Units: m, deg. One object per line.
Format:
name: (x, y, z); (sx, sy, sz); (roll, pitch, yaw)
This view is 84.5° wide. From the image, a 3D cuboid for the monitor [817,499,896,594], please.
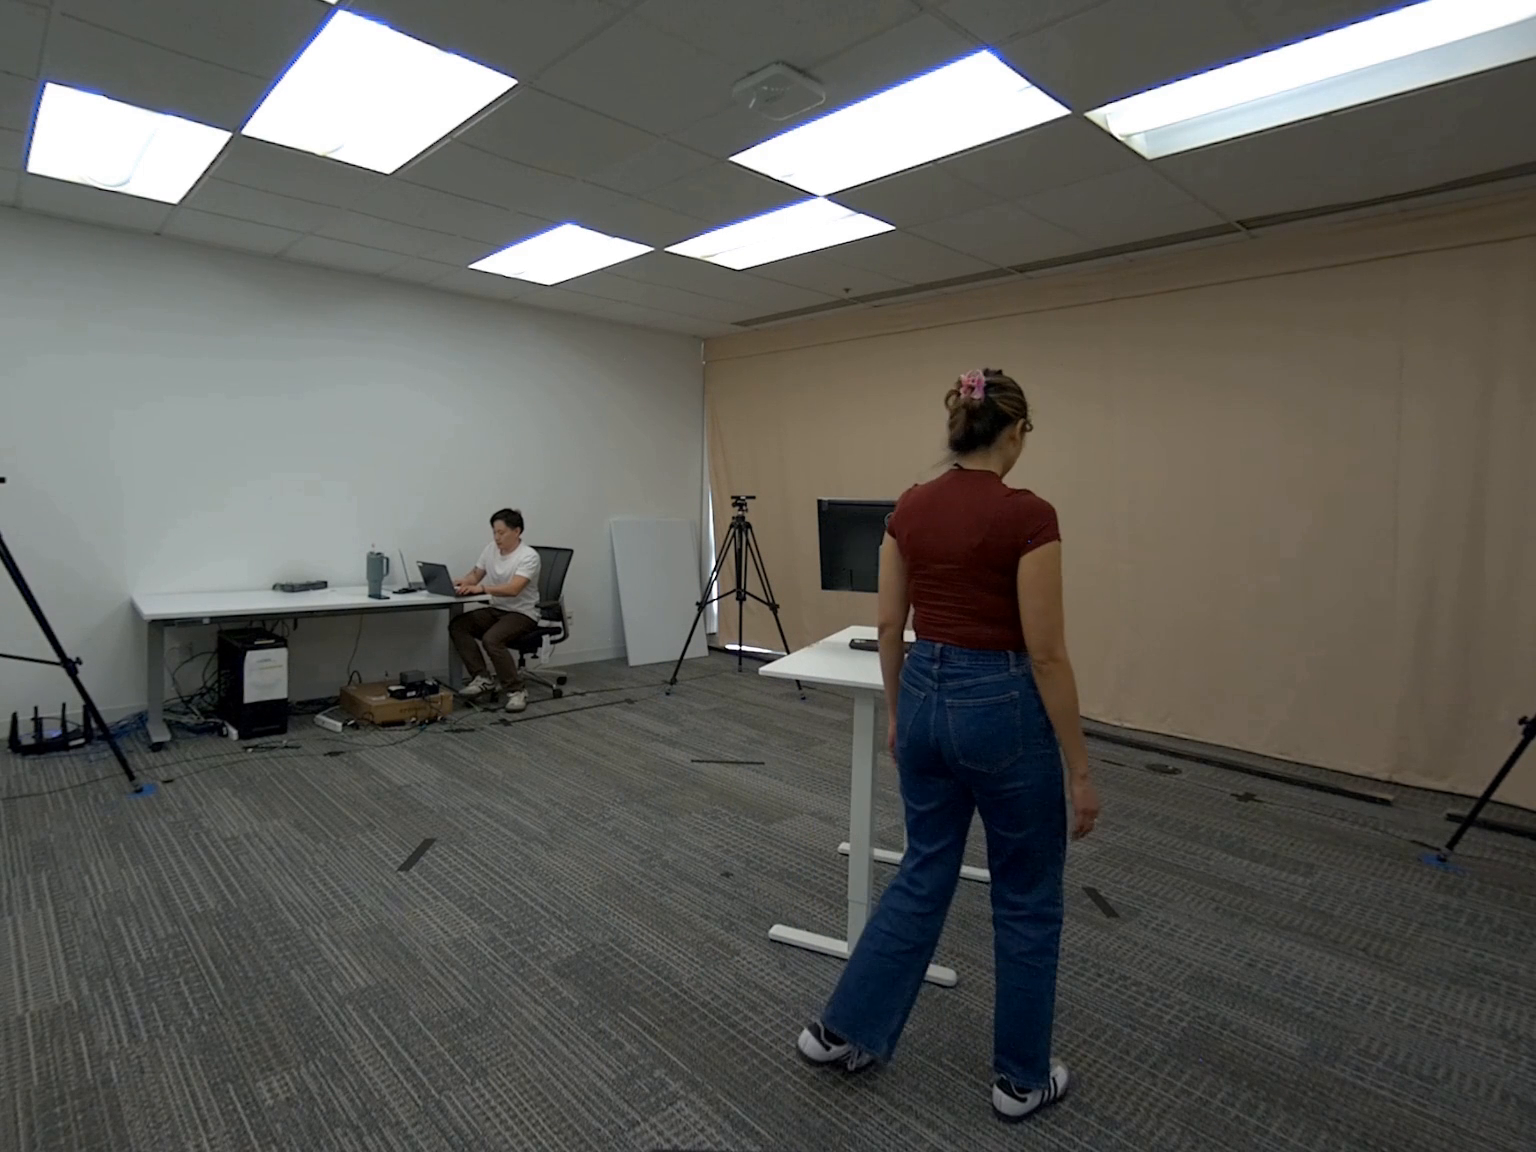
monitor: (0.428, 0.003, 2.889); (0.546, 0.520, 0.185); (3, 6, 16)
